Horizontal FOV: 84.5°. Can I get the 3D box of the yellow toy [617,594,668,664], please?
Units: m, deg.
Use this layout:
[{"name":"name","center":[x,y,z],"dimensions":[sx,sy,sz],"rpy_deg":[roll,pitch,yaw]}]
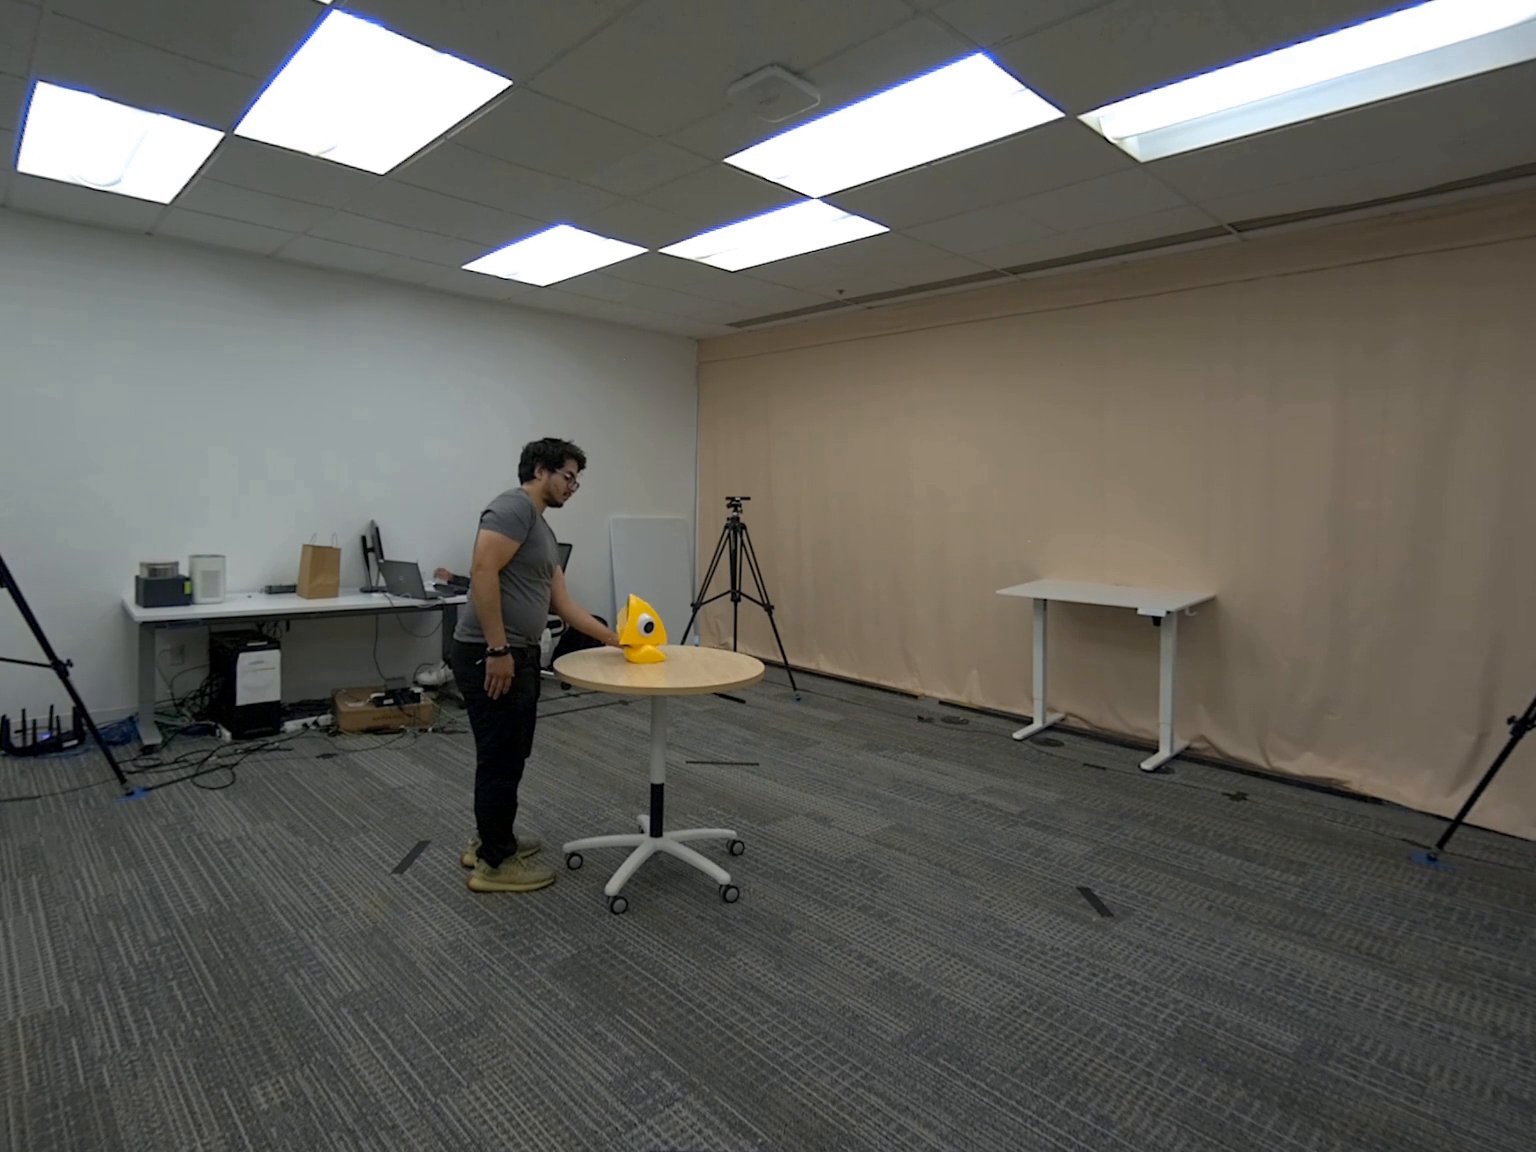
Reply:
[{"name":"yellow toy","center":[-0.470,0.173,3.118],"dimensions":[0.191,0.227,0.210],"rpy_deg":[2,24,-15]}]
